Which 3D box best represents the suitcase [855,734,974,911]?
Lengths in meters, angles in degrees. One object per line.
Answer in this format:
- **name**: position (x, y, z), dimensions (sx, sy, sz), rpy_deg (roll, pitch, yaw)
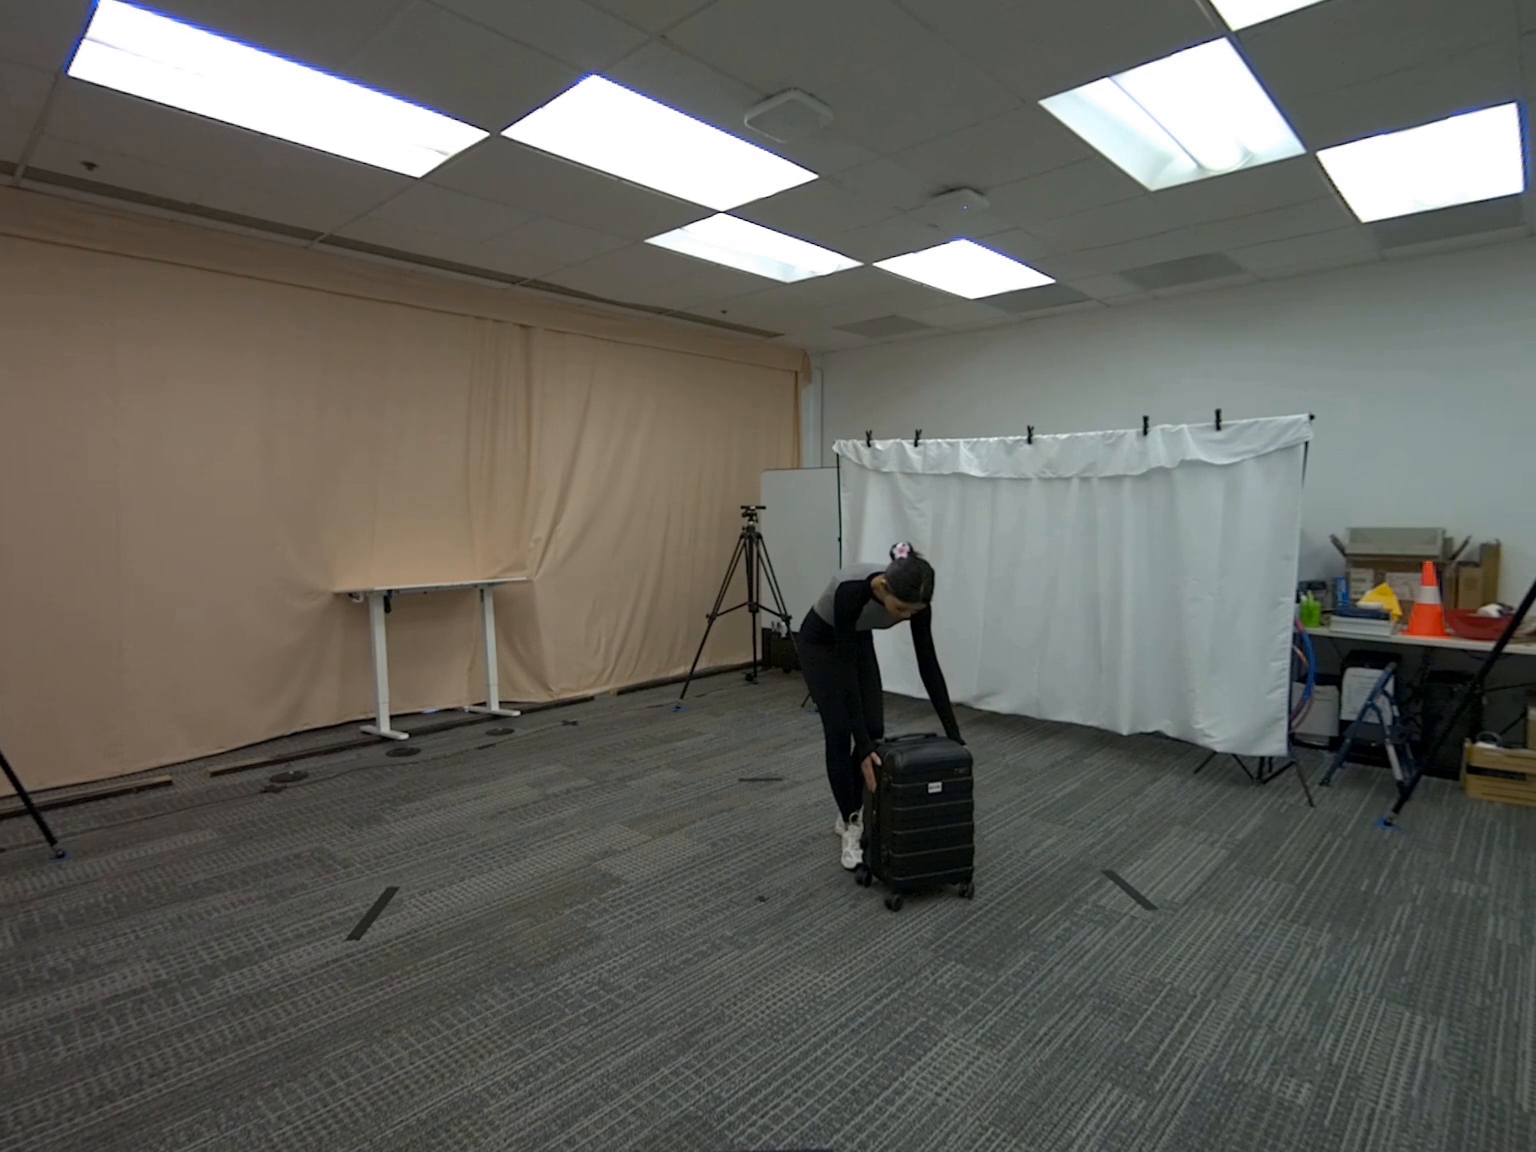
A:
- **suitcase**: position (0.550, 0.860, 3.048), dimensions (0.368, 0.549, 0.254), rpy_deg (-1, 1, -21)
